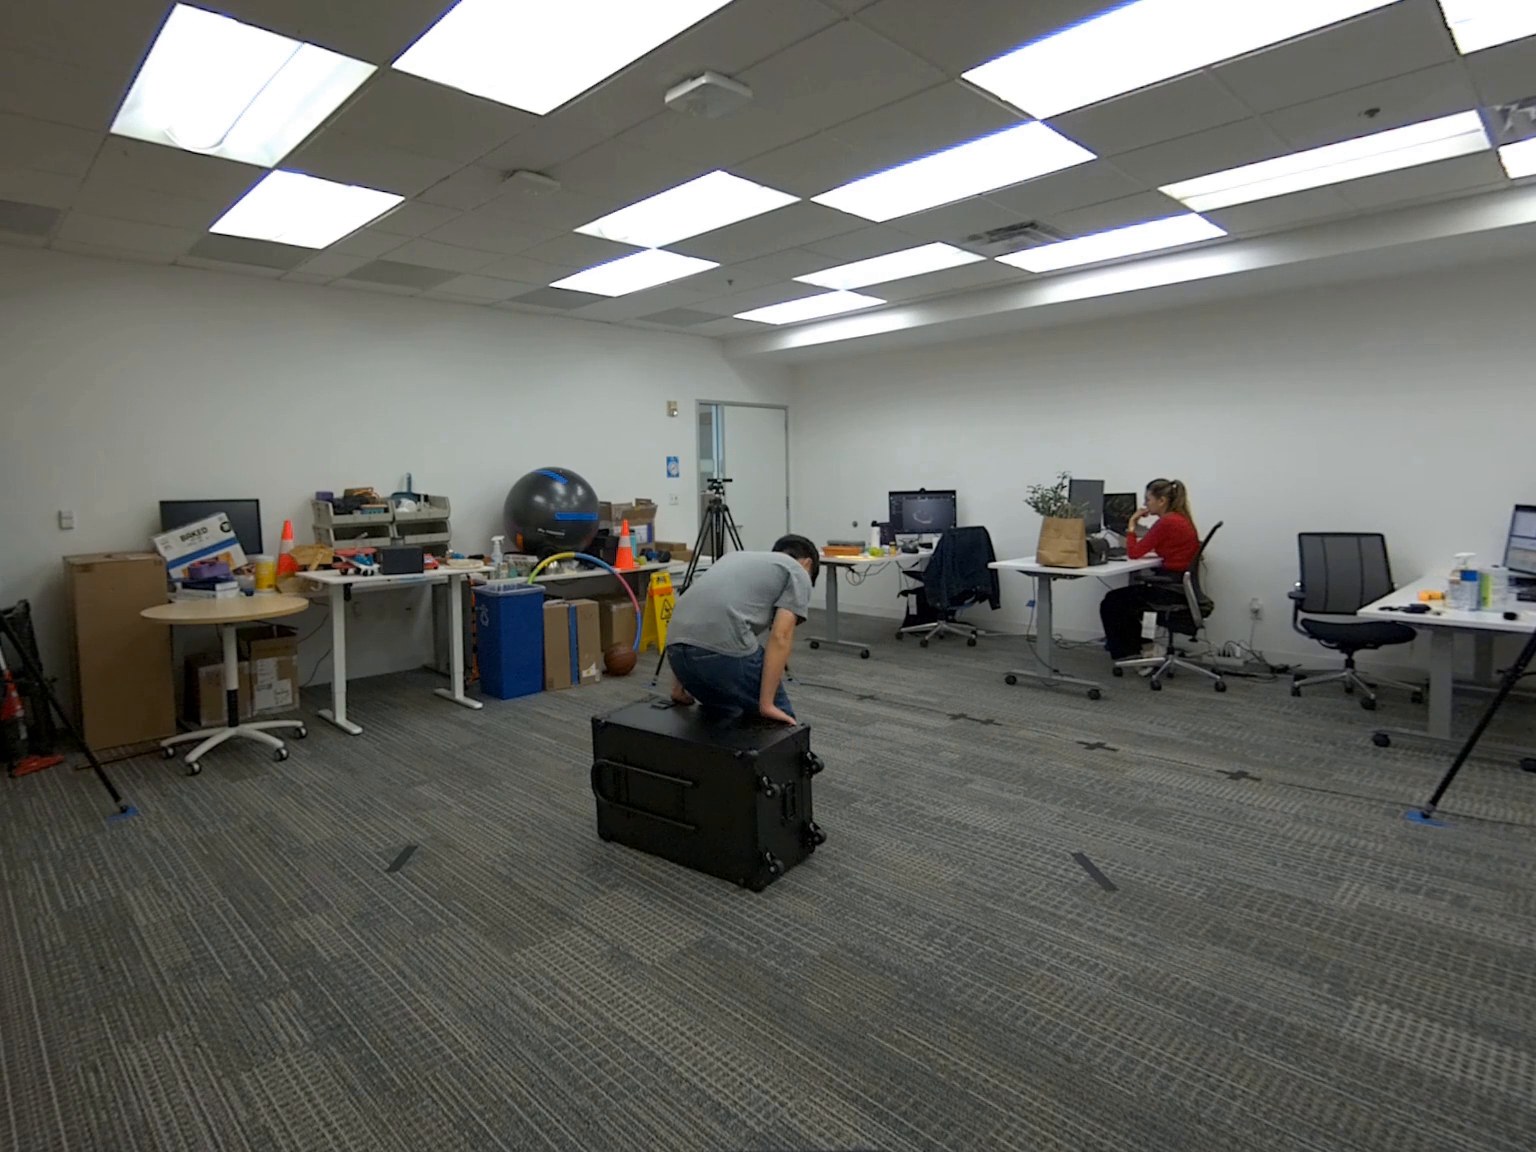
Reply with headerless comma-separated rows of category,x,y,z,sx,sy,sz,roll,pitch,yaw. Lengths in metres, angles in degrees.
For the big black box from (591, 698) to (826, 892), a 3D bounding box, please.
big black box,-0.236,0.779,3.205,0.886,0.518,0.387,3,8,36
